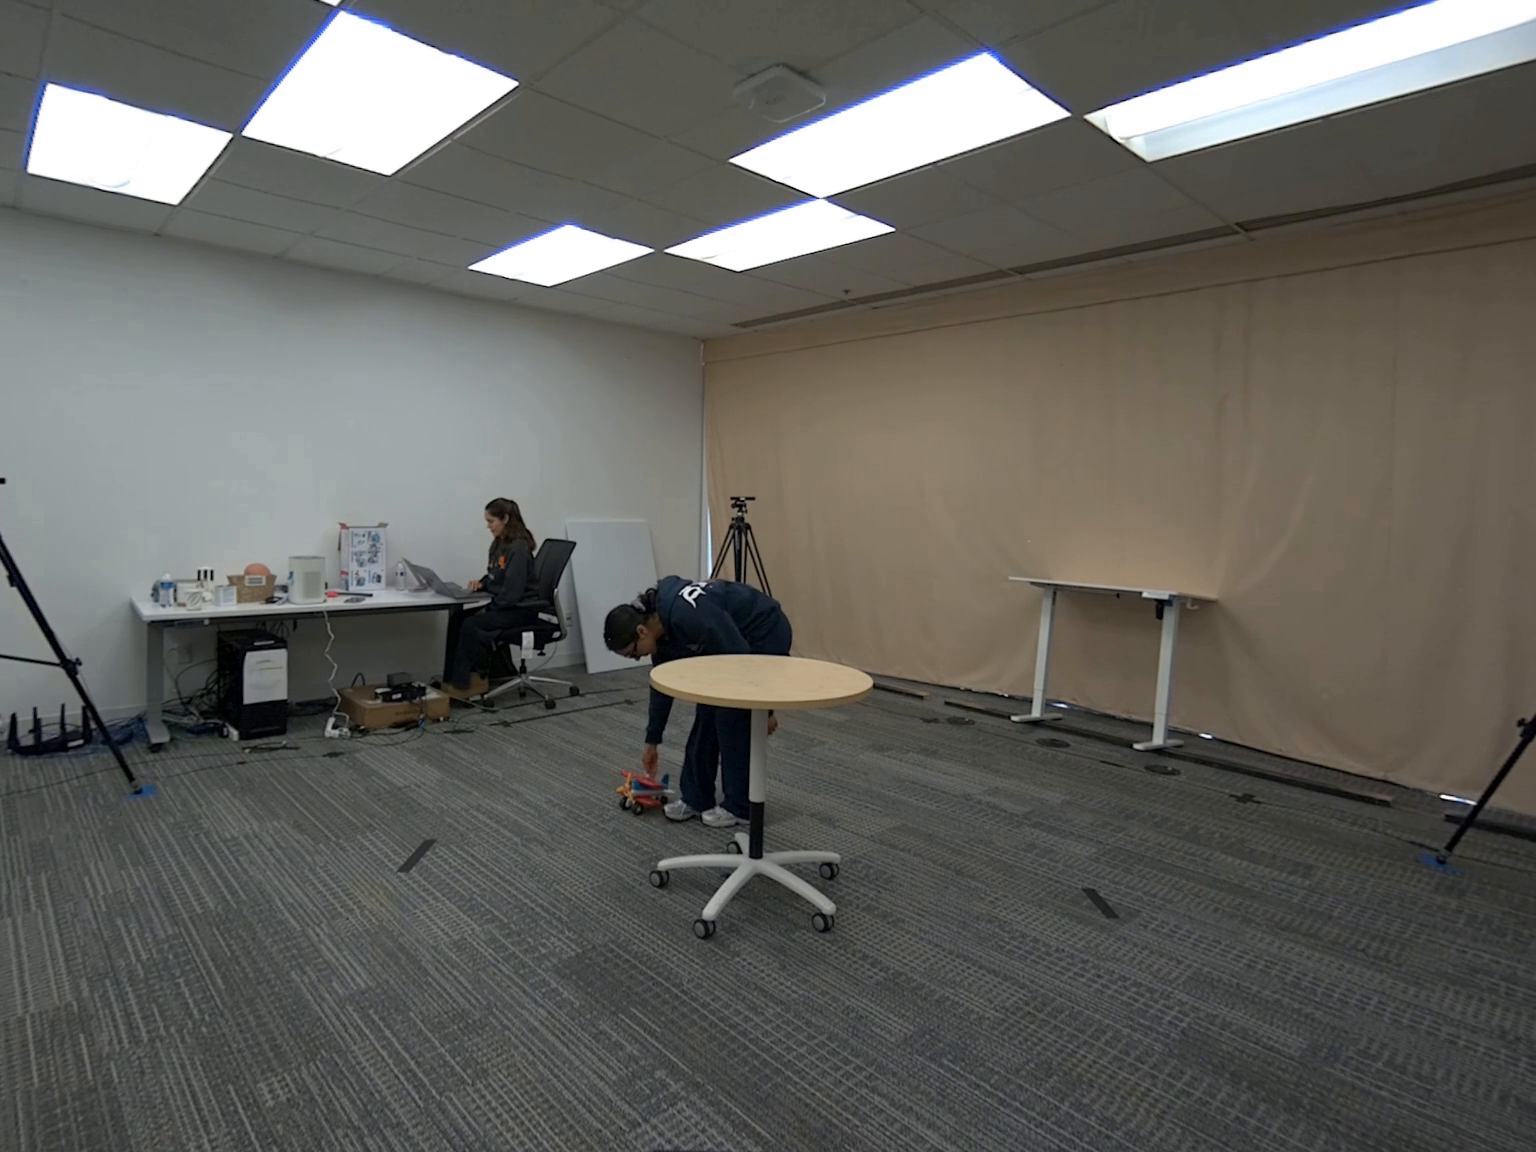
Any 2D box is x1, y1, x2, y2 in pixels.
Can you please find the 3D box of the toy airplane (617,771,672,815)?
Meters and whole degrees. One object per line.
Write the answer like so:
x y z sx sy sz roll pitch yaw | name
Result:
-0.566 0.959 3.778 0.254 0.156 0.257 3 7 14 | toy airplane
